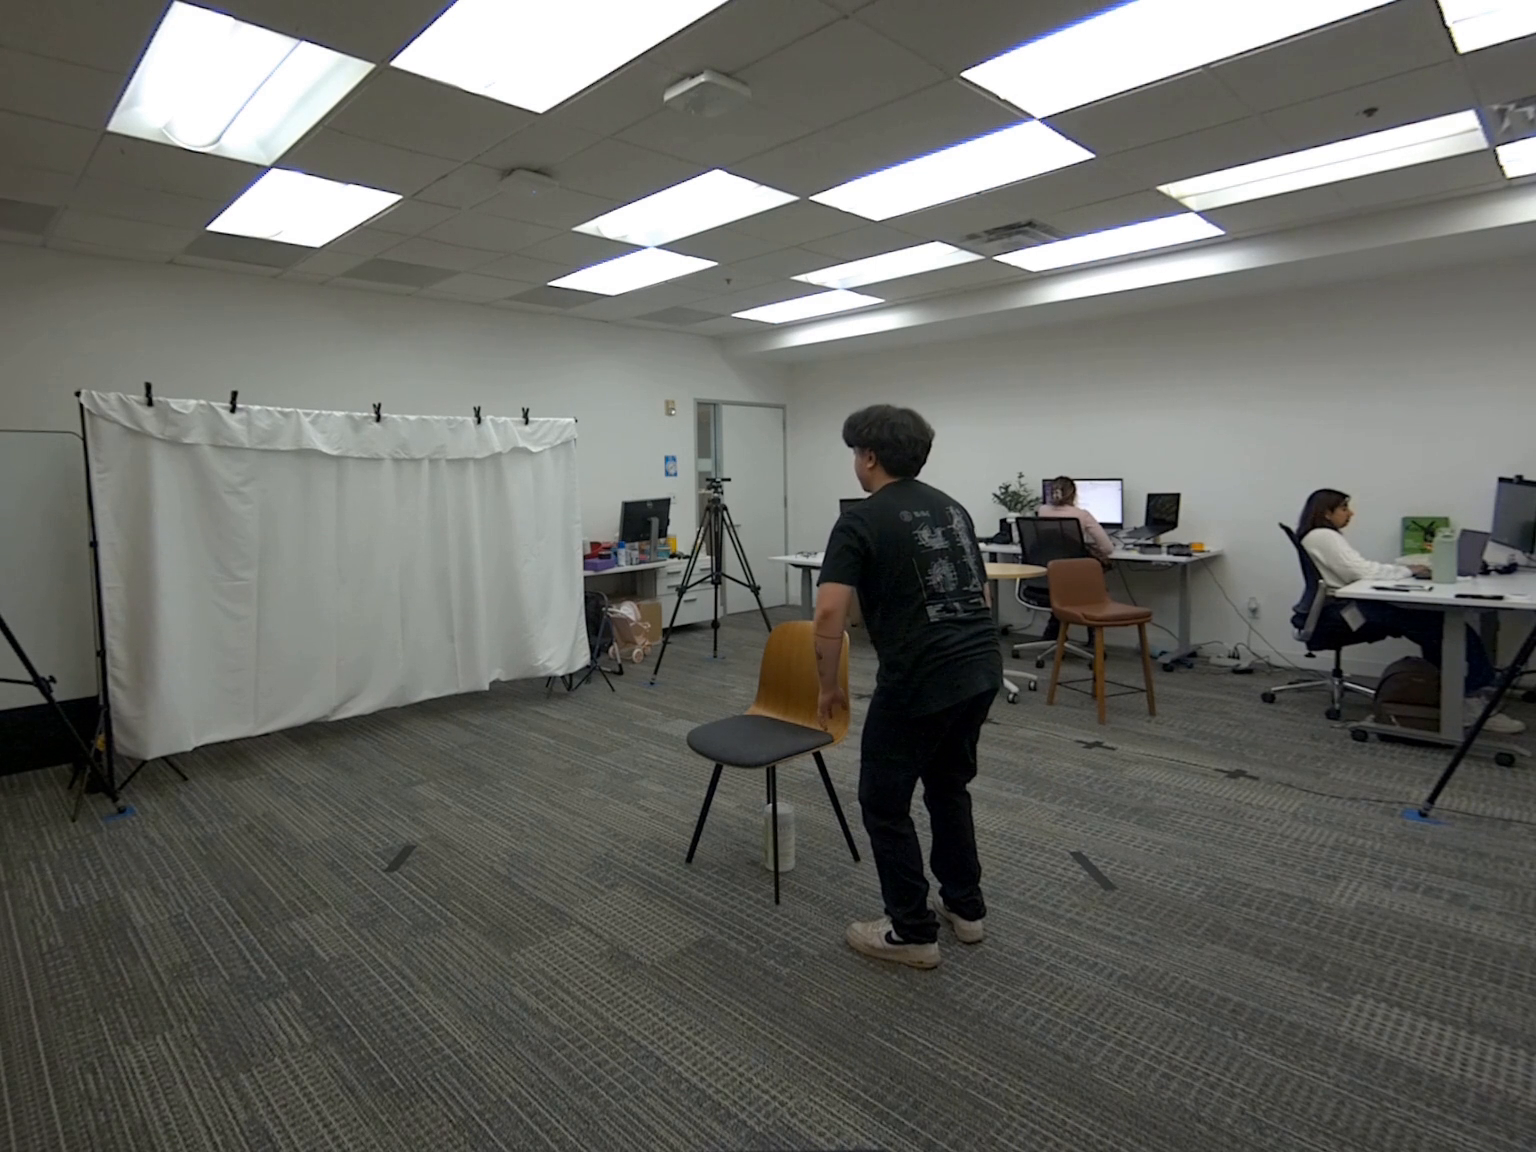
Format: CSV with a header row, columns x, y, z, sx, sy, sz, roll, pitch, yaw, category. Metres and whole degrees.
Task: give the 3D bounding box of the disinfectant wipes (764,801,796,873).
x,y,z,sx,sy,sz,roll,pitch,yaw,category
0.054,0.950,3.075,0.118,0.217,0.118,1,3,-2,disinfectant wipes
